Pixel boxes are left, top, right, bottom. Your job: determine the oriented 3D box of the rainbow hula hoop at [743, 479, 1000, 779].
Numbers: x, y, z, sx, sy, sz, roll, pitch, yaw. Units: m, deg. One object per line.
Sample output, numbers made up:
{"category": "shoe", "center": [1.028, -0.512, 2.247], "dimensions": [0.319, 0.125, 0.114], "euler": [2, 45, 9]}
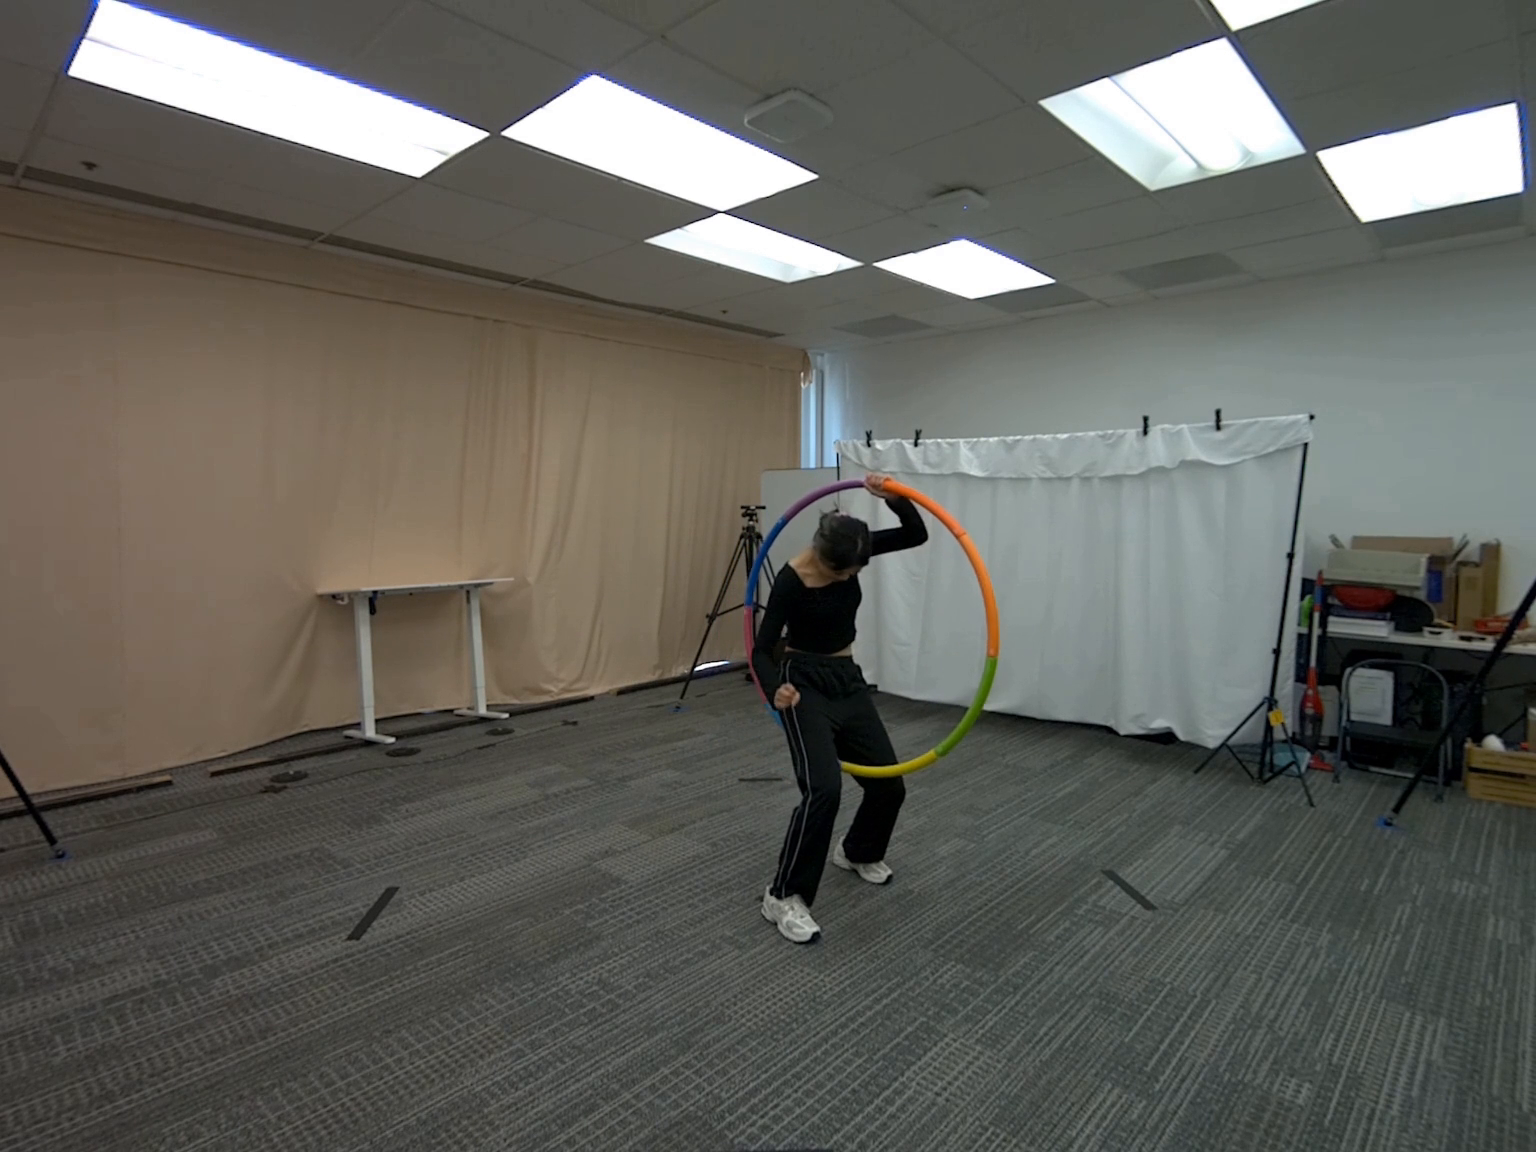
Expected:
{"category": "rainbow hula hoop", "center": [0.303, 0.166, 2.823], "dimensions": [1.011, 0.978, 0.034], "euler": [3, 2, 40]}
